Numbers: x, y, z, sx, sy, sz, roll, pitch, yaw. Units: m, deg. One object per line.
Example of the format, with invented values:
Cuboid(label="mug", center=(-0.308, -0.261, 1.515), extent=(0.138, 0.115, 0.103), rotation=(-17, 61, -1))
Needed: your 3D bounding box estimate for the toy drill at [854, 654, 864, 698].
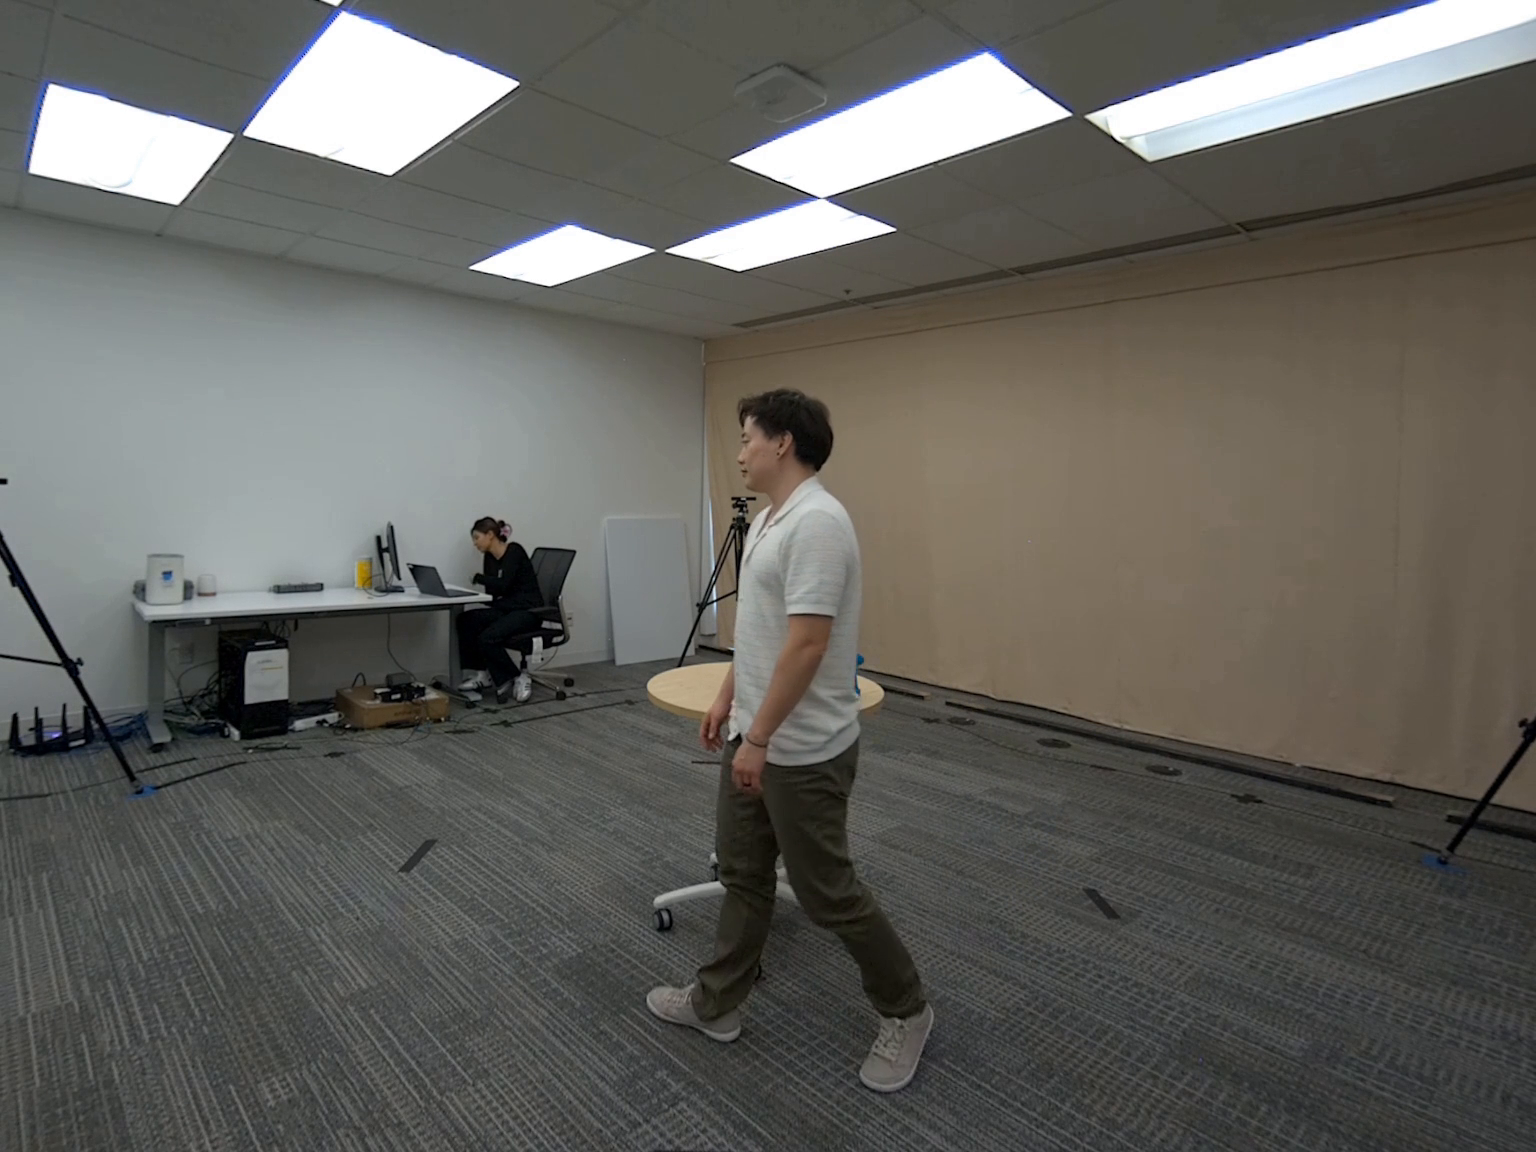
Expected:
Cuboid(label="toy drill", center=(0.209, 0.305, 2.610), extent=(0.167, 0.145, 0.062), rotation=(-1, 5, -21))
